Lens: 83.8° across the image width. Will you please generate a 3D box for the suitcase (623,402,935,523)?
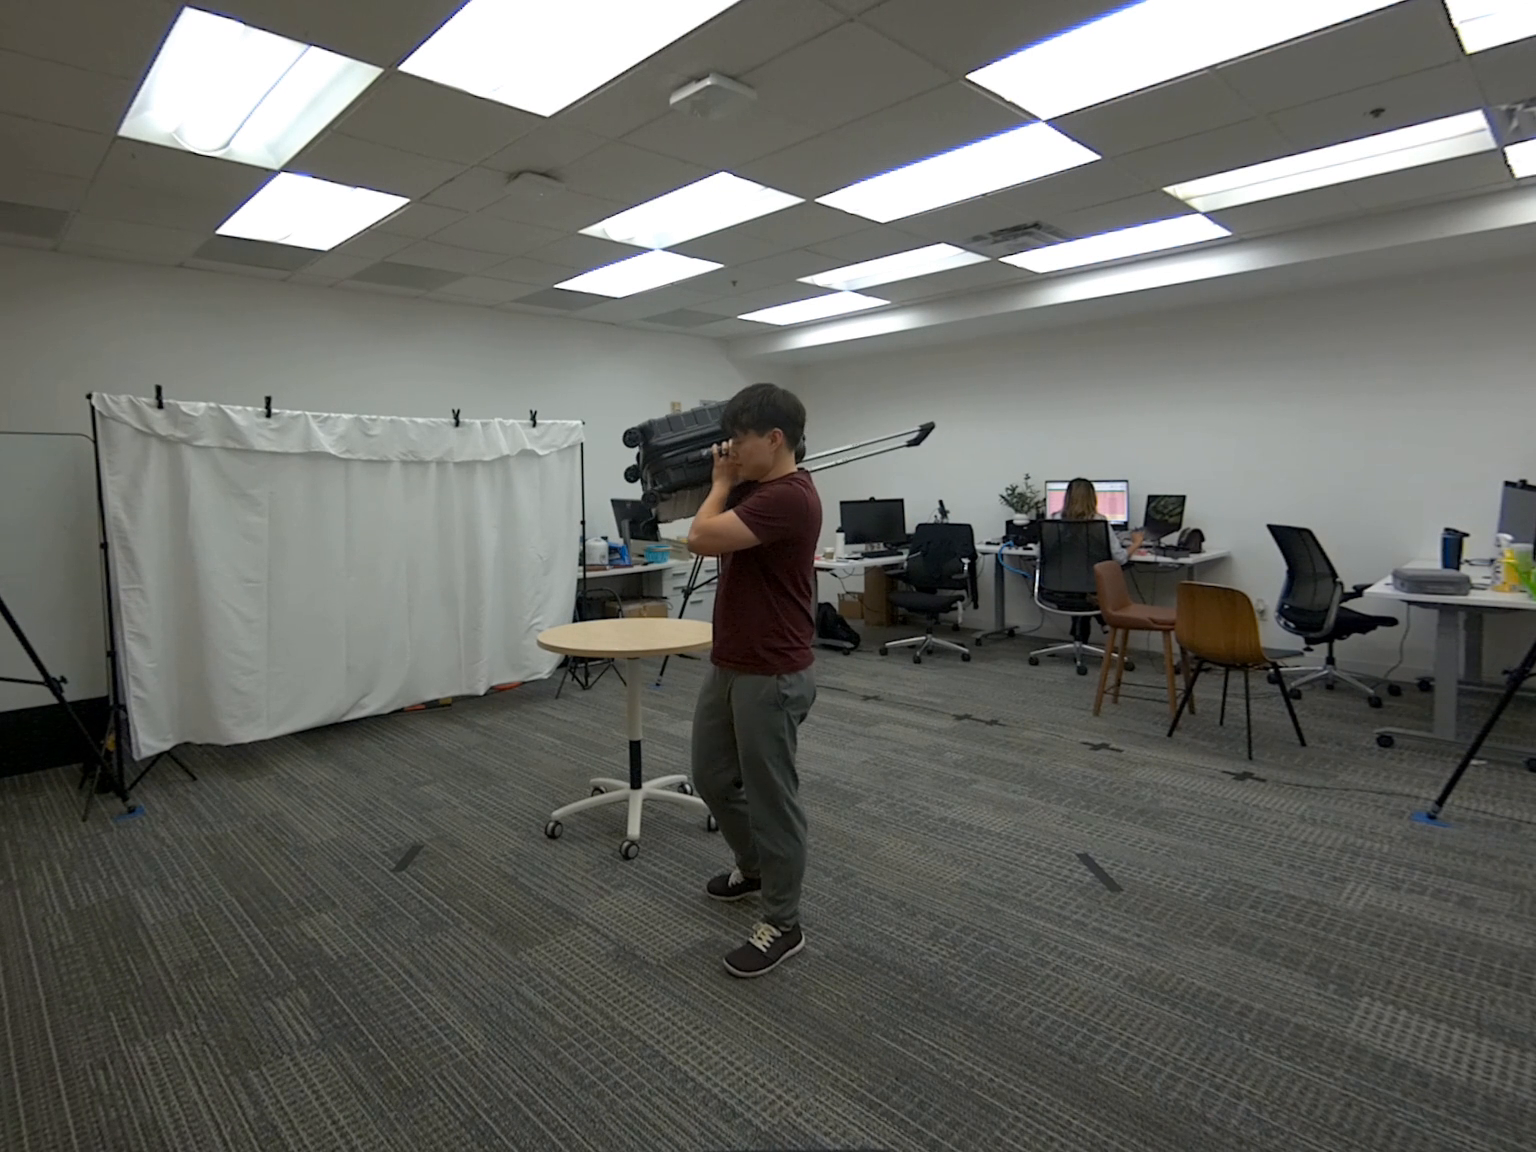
[{"bbox_3d":[0.024,-0.437,2.746,0.971,0.261,0.381,-18,-12,-11],"label":"suitcase"}]
